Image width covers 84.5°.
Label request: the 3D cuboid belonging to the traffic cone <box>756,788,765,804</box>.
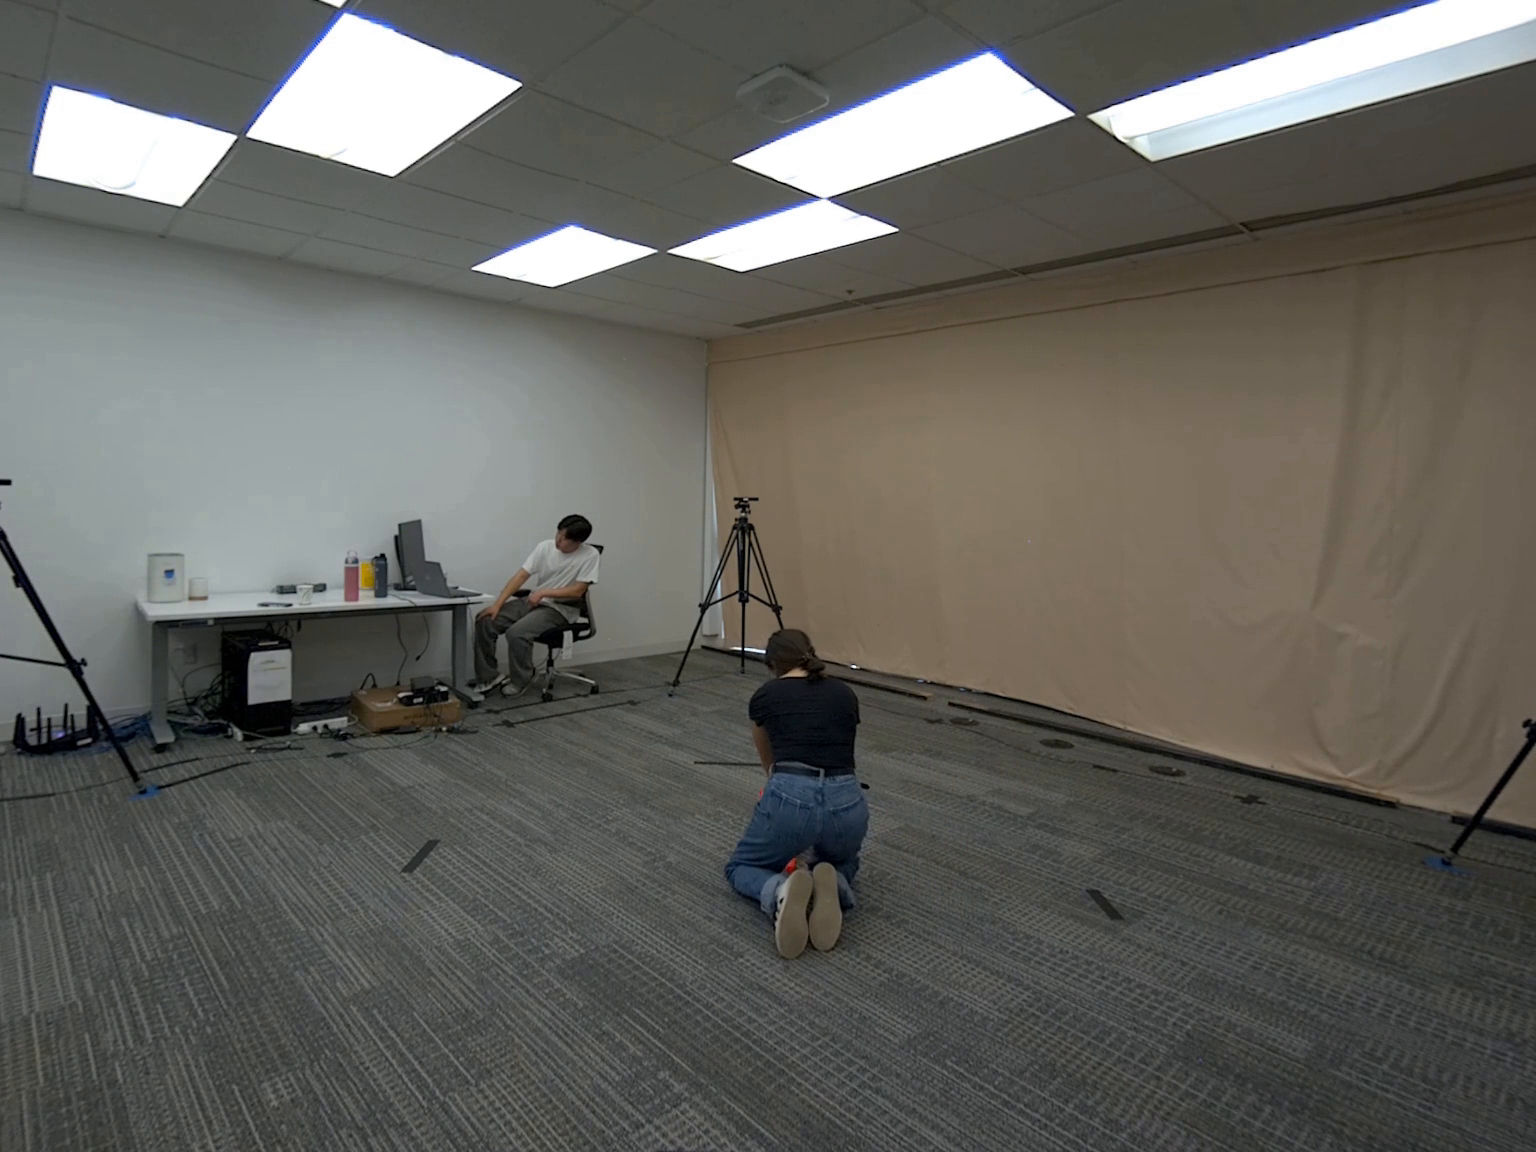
[{"bbox_3d":[0.069,1.054,3.320,0.204,0.202,0.388,-3,17,2],"label":"traffic cone"}]
